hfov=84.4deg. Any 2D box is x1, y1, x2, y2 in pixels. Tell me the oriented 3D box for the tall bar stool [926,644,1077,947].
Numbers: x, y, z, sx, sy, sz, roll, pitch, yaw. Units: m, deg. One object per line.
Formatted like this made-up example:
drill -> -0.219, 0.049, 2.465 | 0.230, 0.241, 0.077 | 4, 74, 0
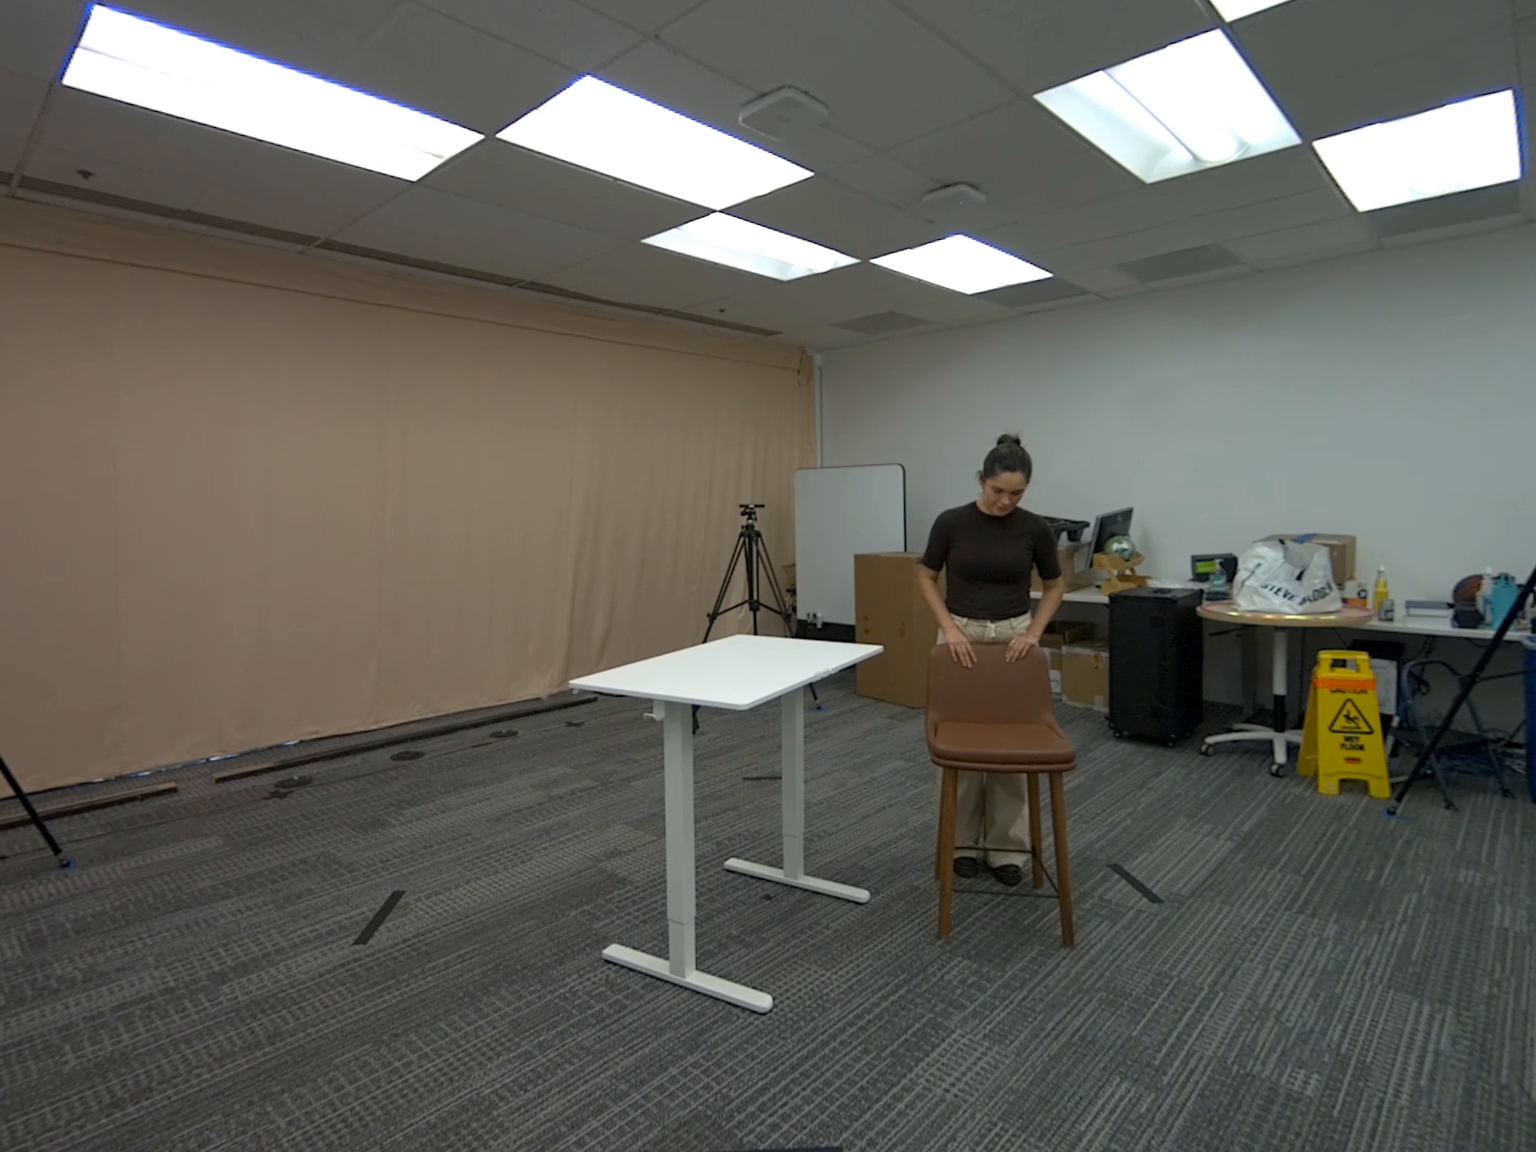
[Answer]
tall bar stool -> 0.775, 0.700, 2.845 | 0.462, 0.889, 0.462 | 0, 1, 10
